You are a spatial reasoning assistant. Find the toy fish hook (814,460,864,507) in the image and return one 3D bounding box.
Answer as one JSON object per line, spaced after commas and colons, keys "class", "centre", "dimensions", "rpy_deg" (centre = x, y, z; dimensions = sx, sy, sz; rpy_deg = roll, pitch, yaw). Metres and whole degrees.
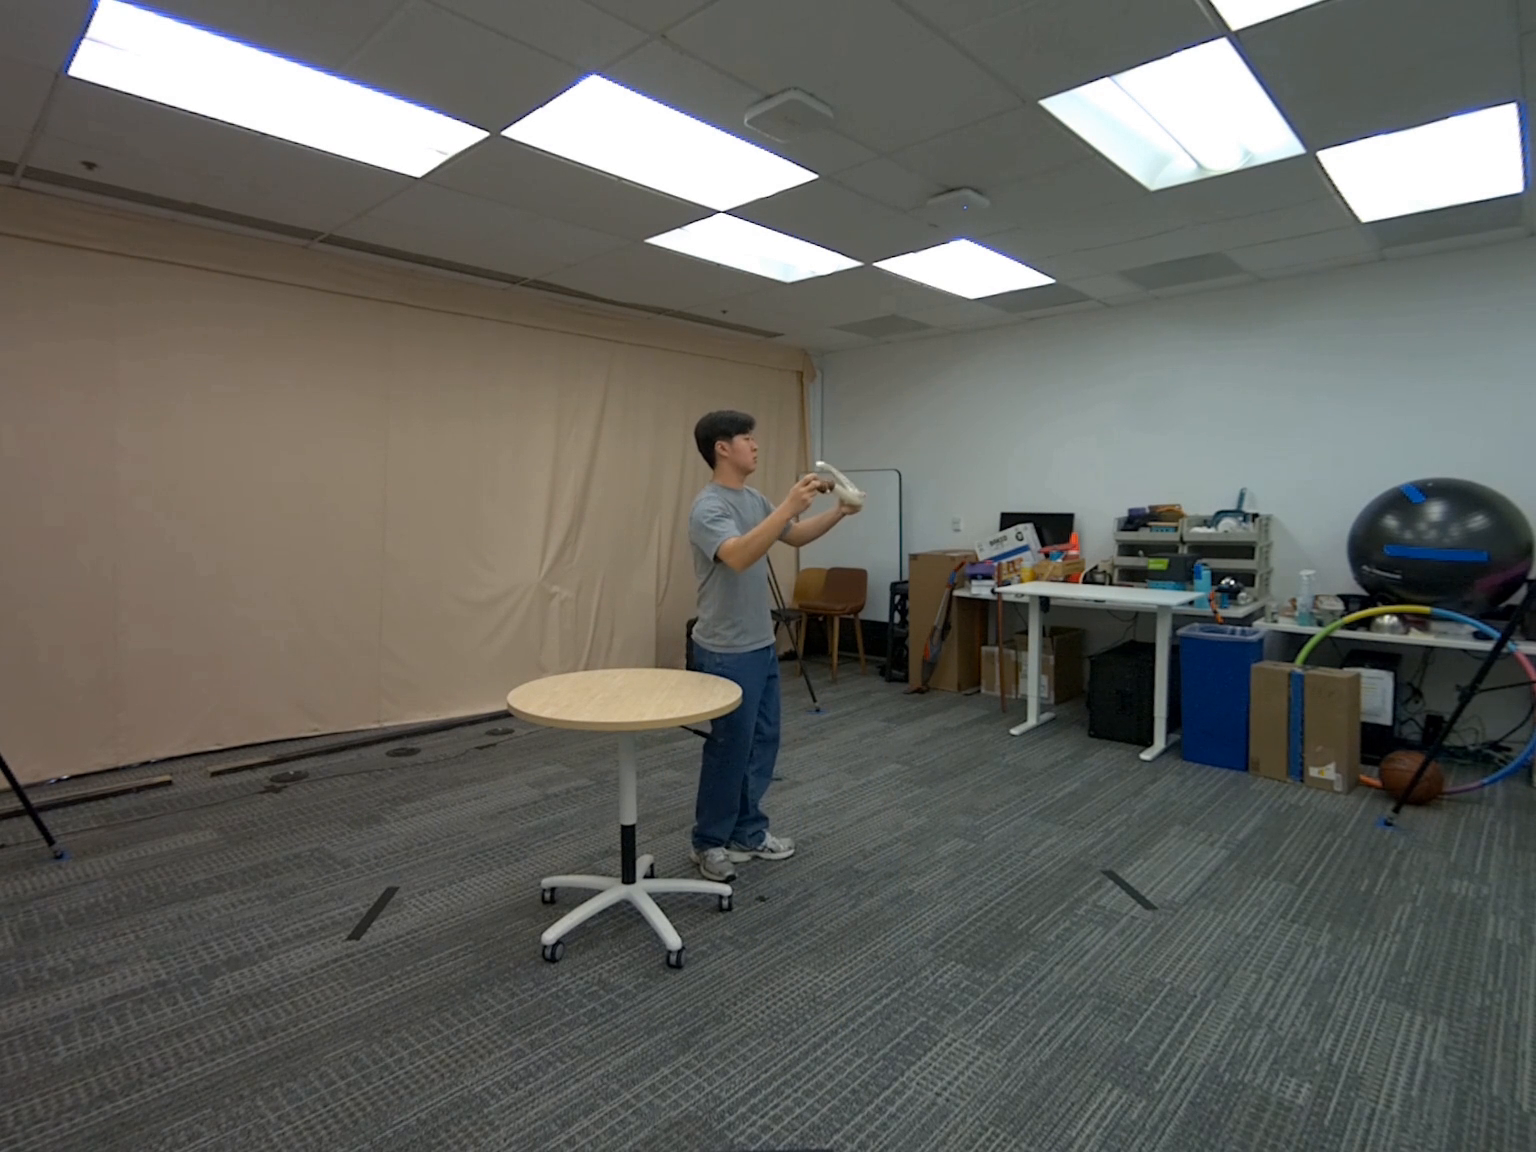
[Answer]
{"class": "toy fish hook", "centre": [0.212, -0.345, 3.026], "dimensions": [0.230, 0.048, 0.493], "rpy_deg": [47, 17, 20]}
